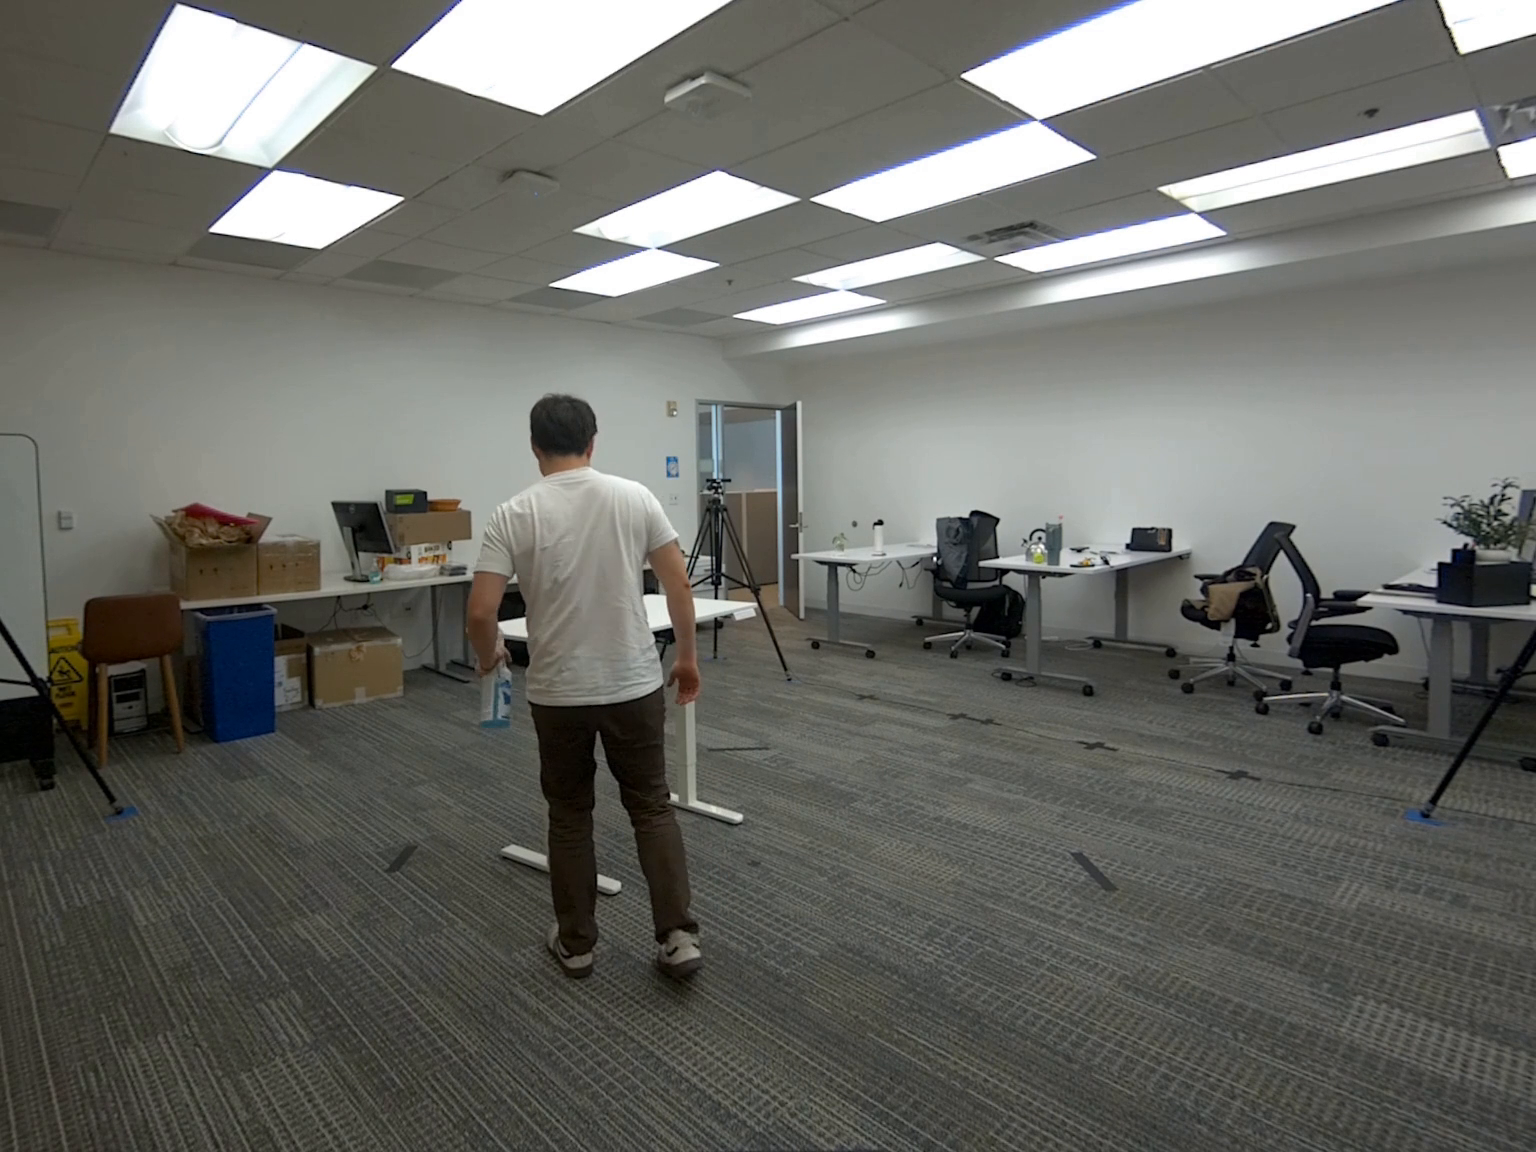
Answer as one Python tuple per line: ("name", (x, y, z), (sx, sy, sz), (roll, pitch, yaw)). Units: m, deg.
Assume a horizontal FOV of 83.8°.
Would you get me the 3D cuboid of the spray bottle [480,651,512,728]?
("spray bottle", (-0.777, 0.288, 2.493), (0.085, 0.303, 0.090), (8, -26, -20))
